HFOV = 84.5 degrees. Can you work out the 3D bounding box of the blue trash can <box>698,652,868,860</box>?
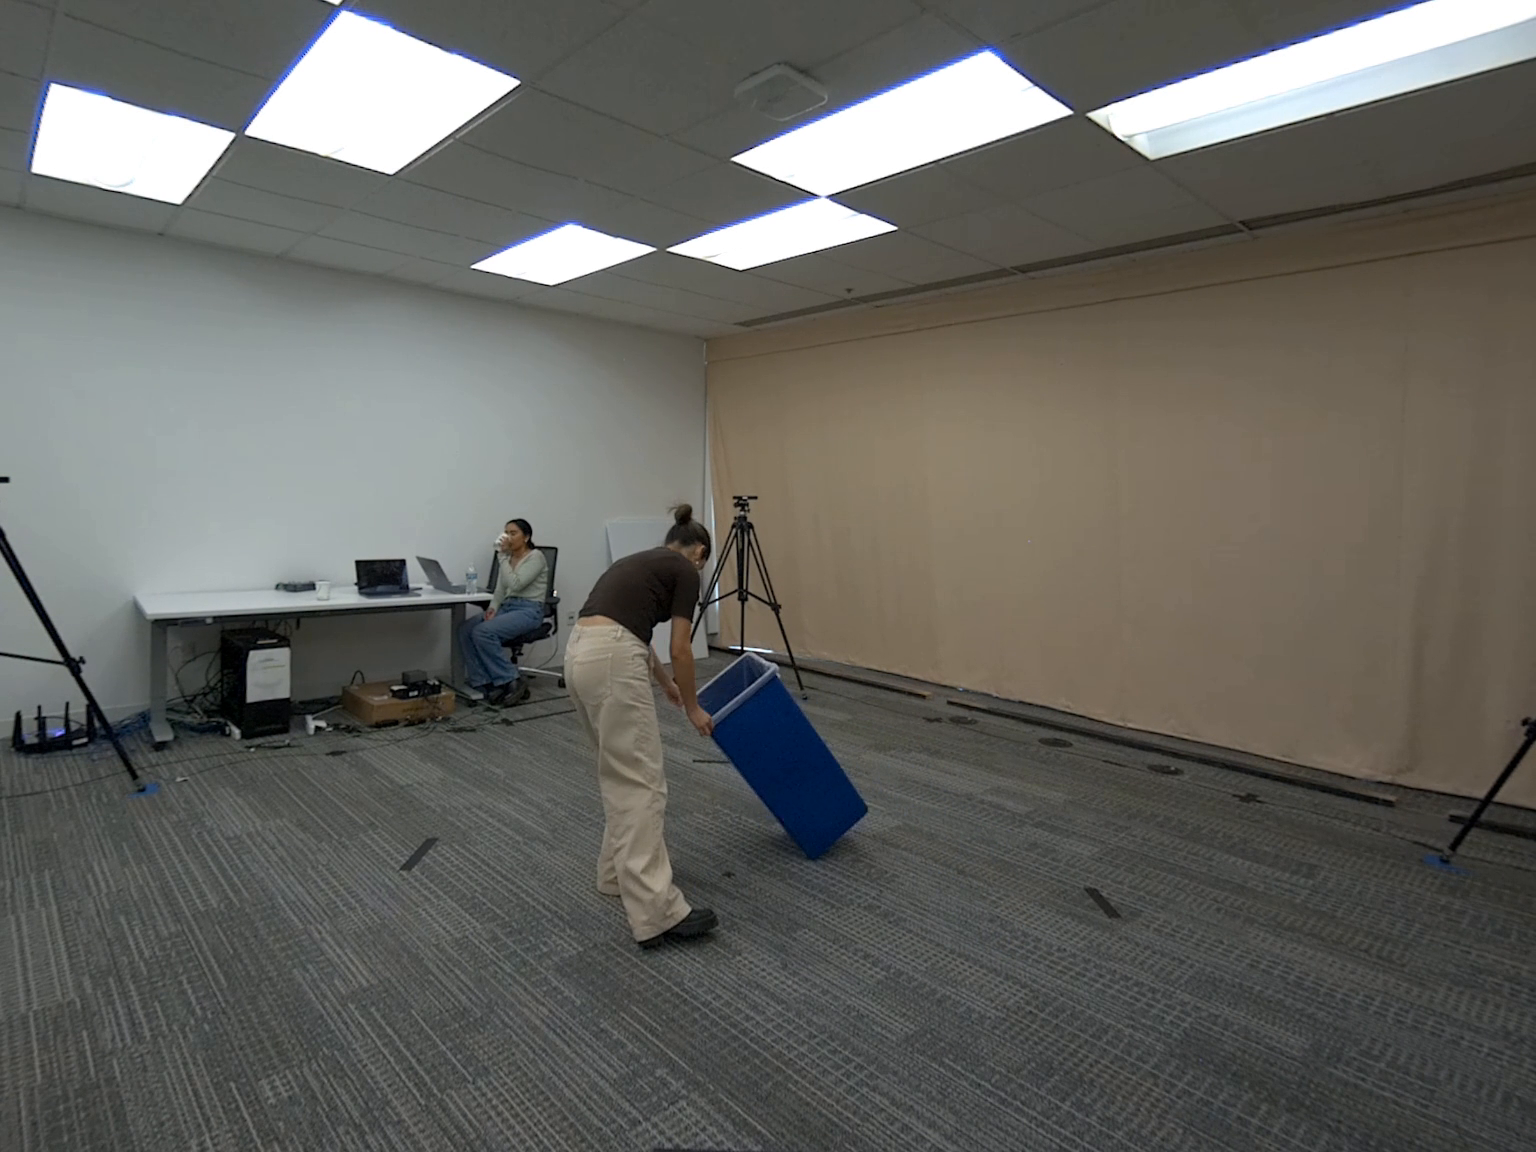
[{"bbox_3d":[0.023,0.717,3.328,0.373,0.705,0.383,-37,11,-12],"label":"blue trash can"}]
